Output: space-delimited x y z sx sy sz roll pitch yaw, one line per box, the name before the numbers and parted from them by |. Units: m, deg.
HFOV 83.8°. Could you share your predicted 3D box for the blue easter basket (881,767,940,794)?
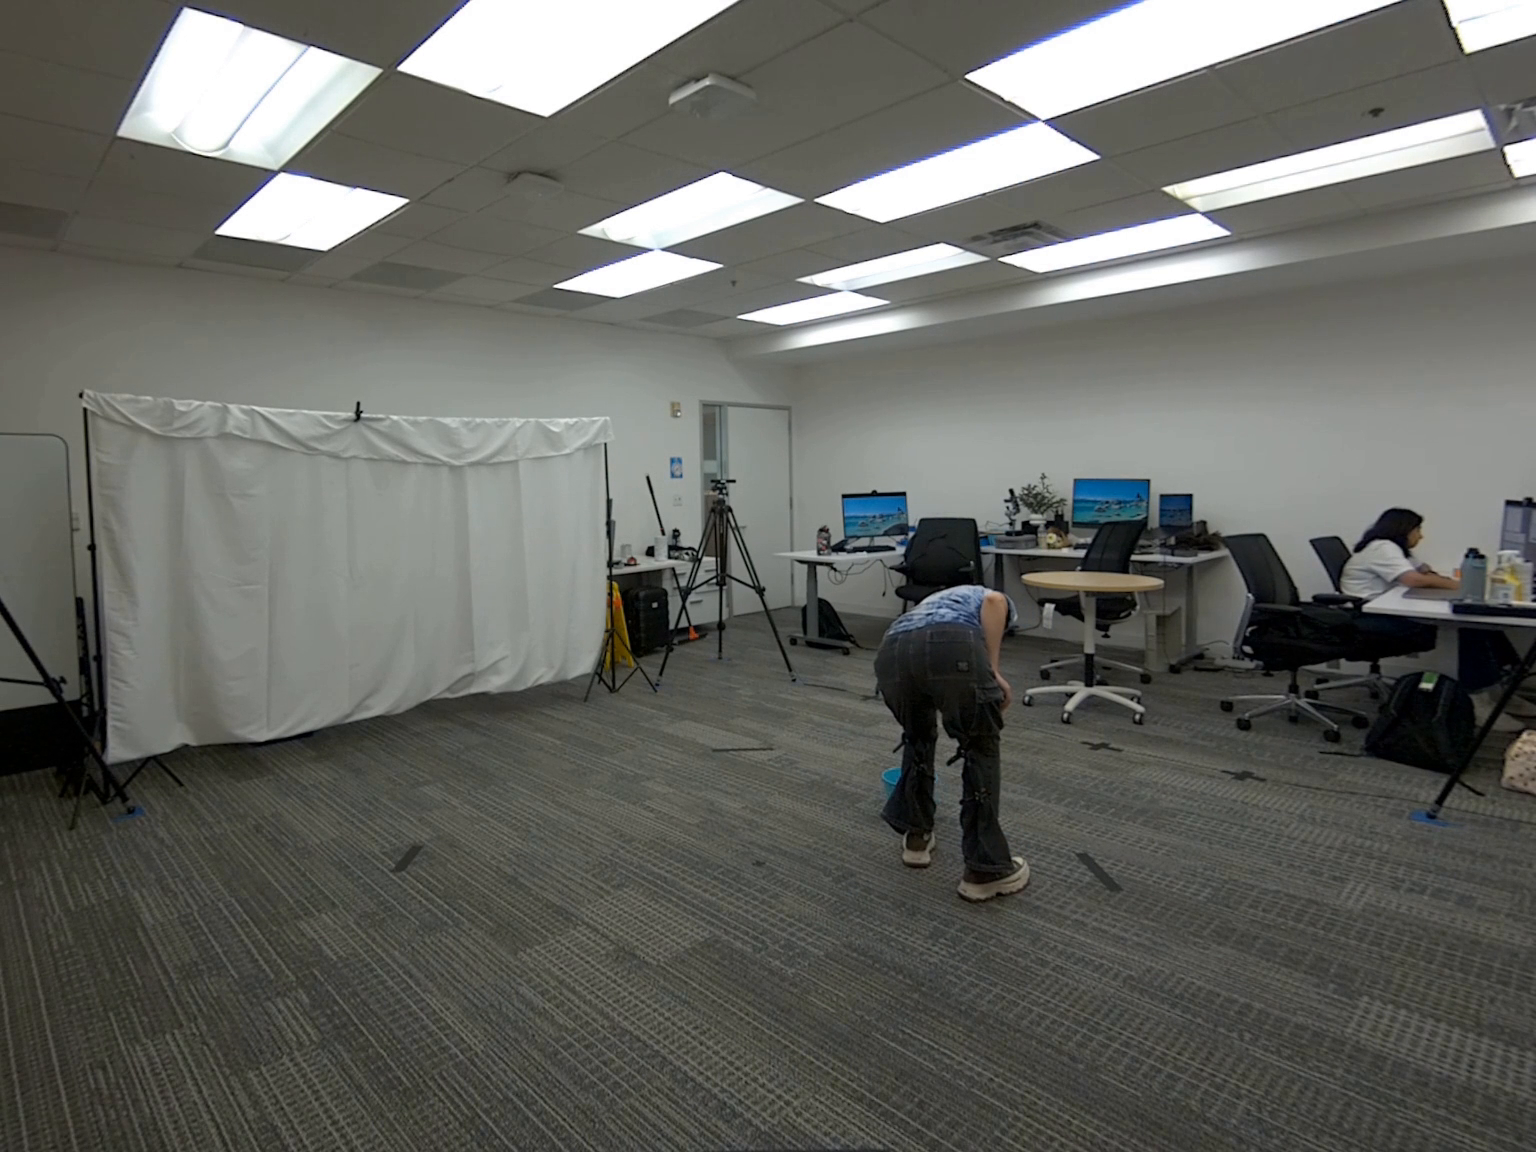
blue easter basket | 0.599 0.907 3.558 0.243 0.155 0.245 -2 5 -2
